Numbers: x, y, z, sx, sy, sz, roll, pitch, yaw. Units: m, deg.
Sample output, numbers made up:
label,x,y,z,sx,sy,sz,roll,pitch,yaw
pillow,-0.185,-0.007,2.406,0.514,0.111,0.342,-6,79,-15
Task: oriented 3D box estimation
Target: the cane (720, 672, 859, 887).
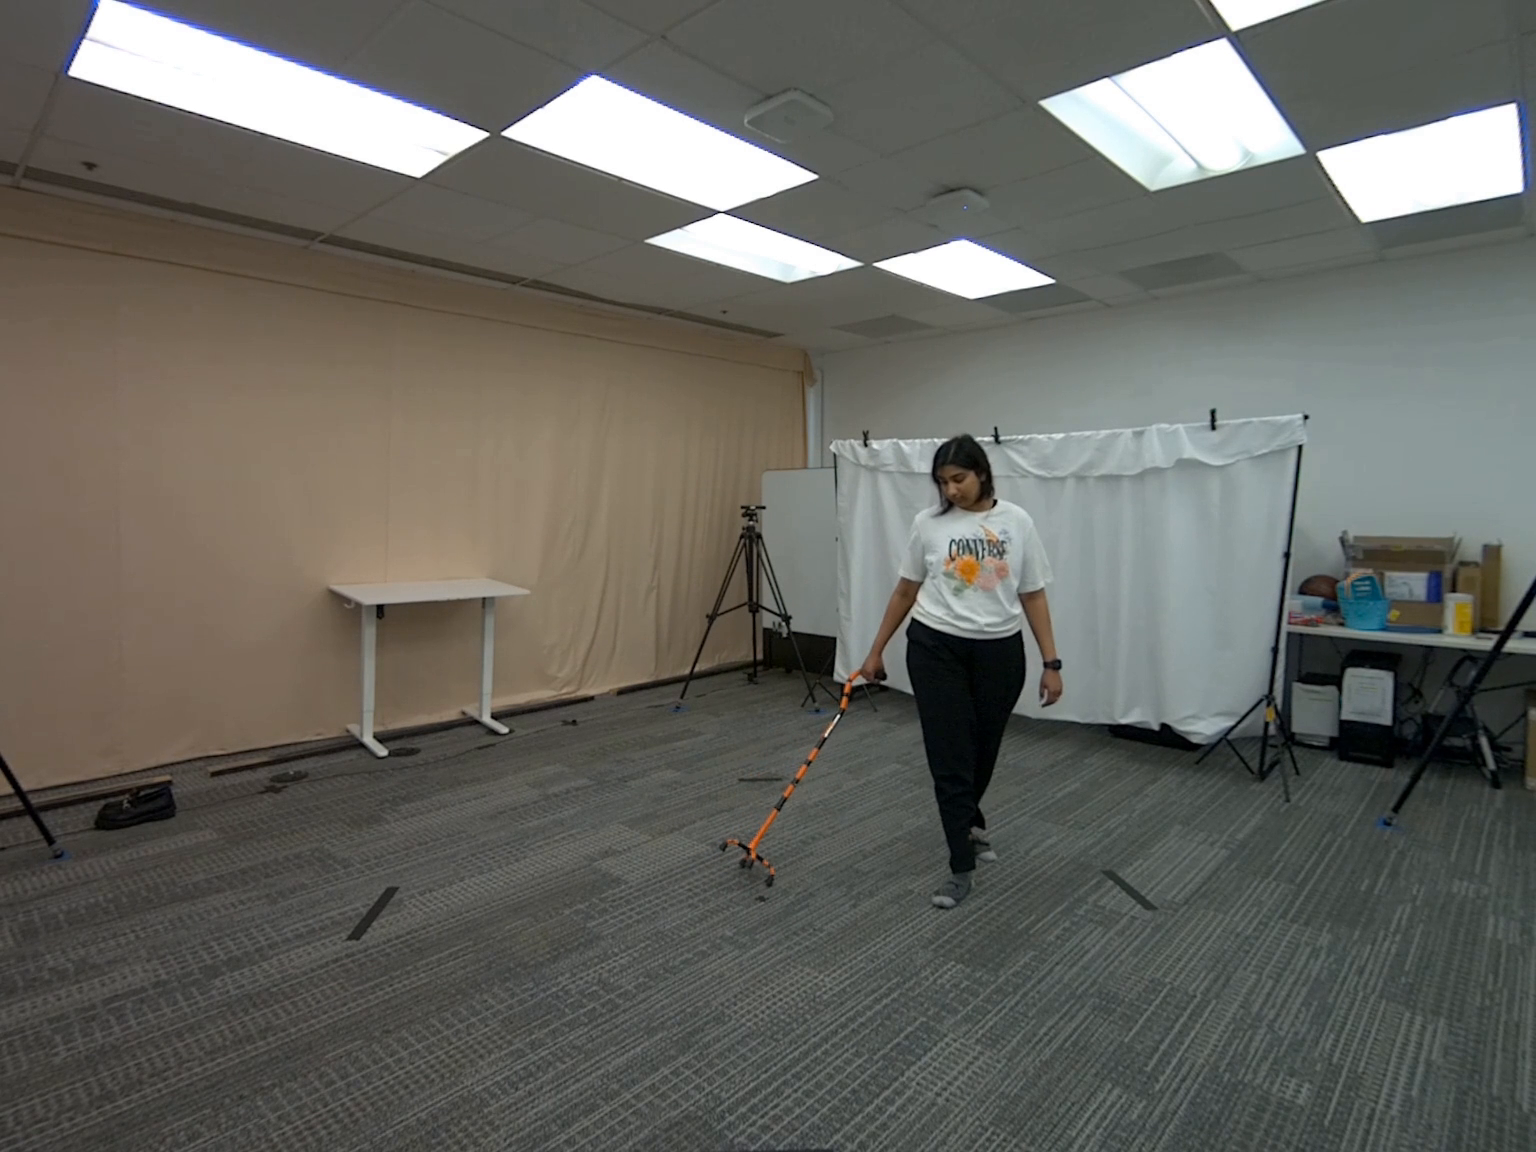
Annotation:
label,x,y,z,sx,sy,sz,roll,pitch,yaw
cane,0.164,0.738,3.274,0.147,0.905,0.213,47,-21,-29
